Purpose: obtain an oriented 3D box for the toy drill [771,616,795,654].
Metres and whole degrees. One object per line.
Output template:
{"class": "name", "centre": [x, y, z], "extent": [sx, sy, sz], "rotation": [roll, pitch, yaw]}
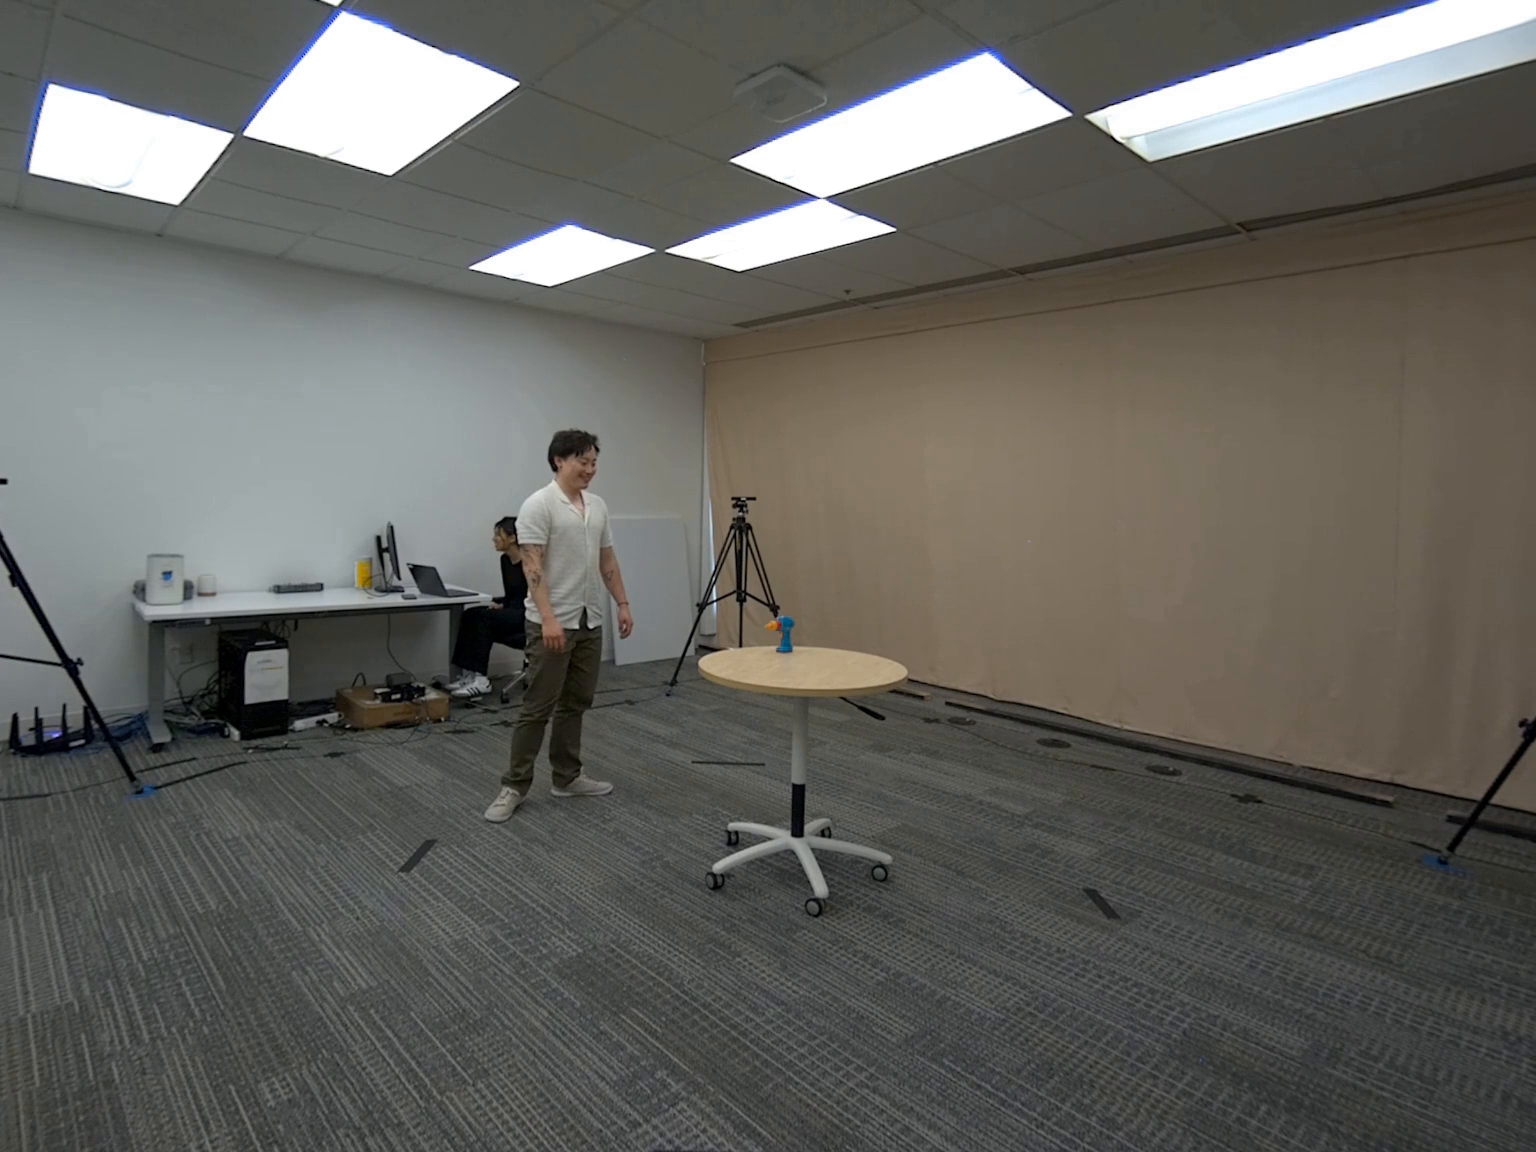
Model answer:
{"class": "toy drill", "centre": [0.039, 0.233, 3.325], "extent": [0.063, 0.145, 0.166], "rotation": [6, 5, 38]}
